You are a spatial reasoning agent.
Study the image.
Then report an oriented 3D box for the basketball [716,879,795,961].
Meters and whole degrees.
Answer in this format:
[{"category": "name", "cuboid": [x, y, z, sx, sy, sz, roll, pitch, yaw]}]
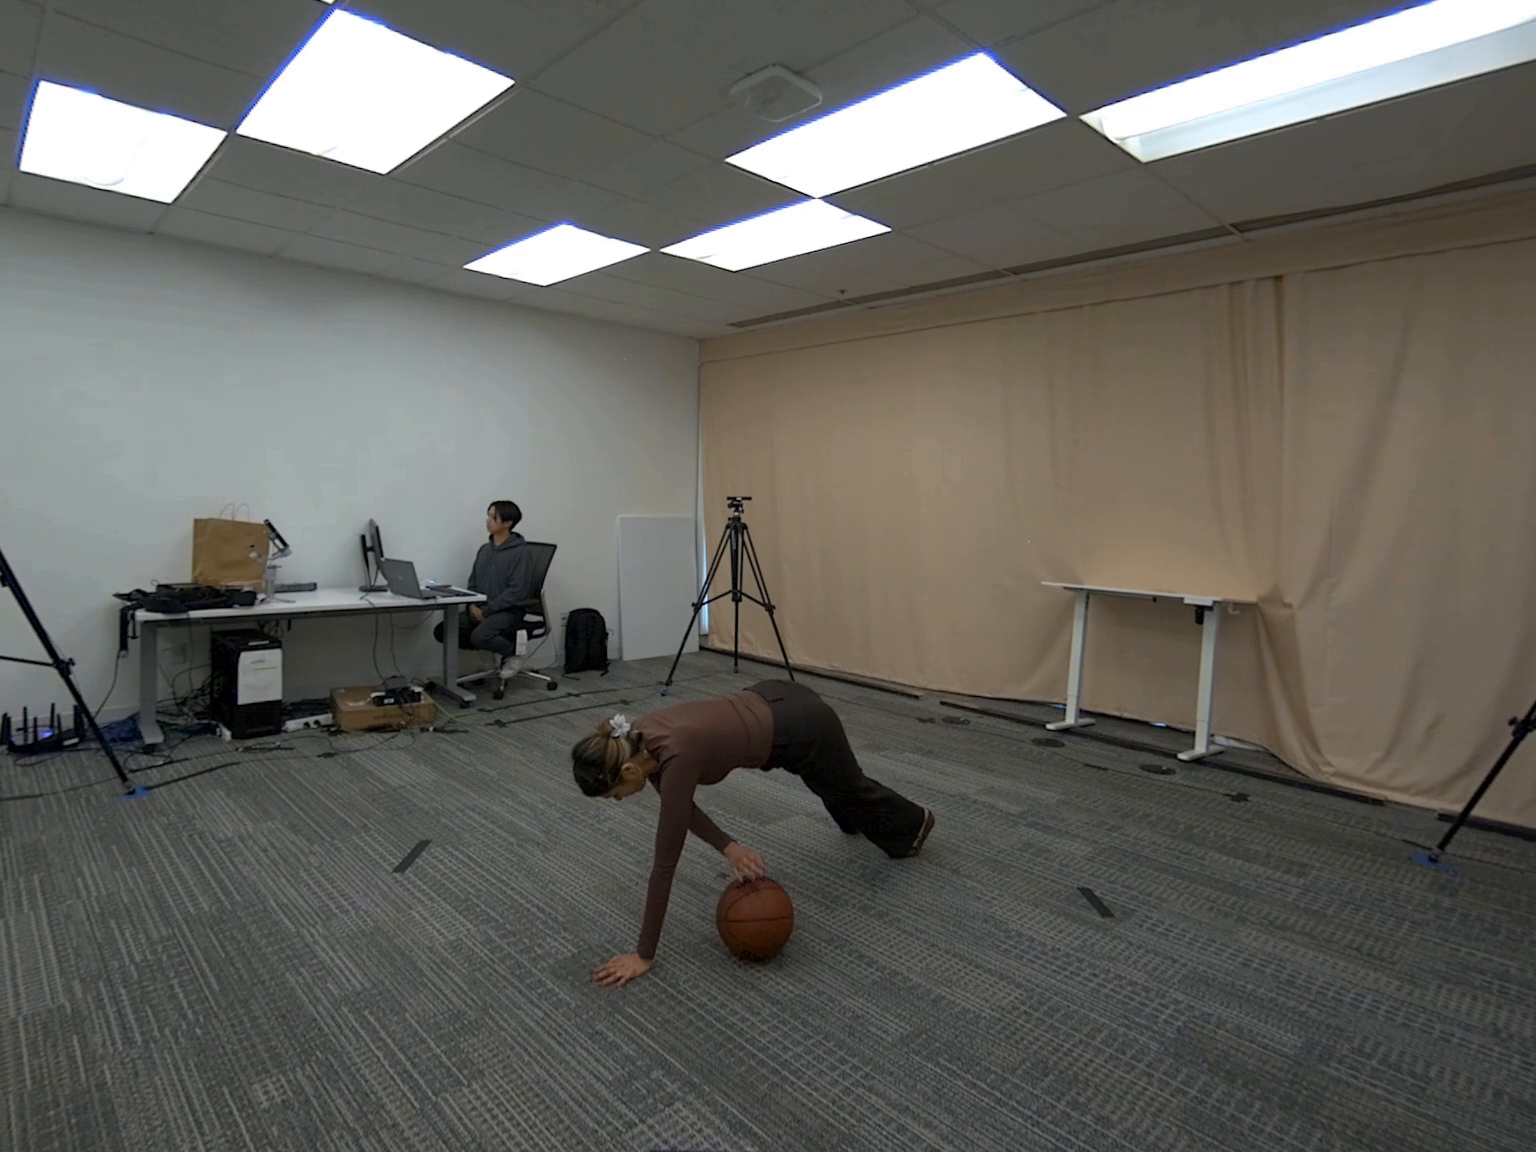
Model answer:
[{"category": "basketball", "cuboid": [-0.045, 1.037, 2.566, 0.236, 0.235, 0.237, 1, 4, -1]}]
